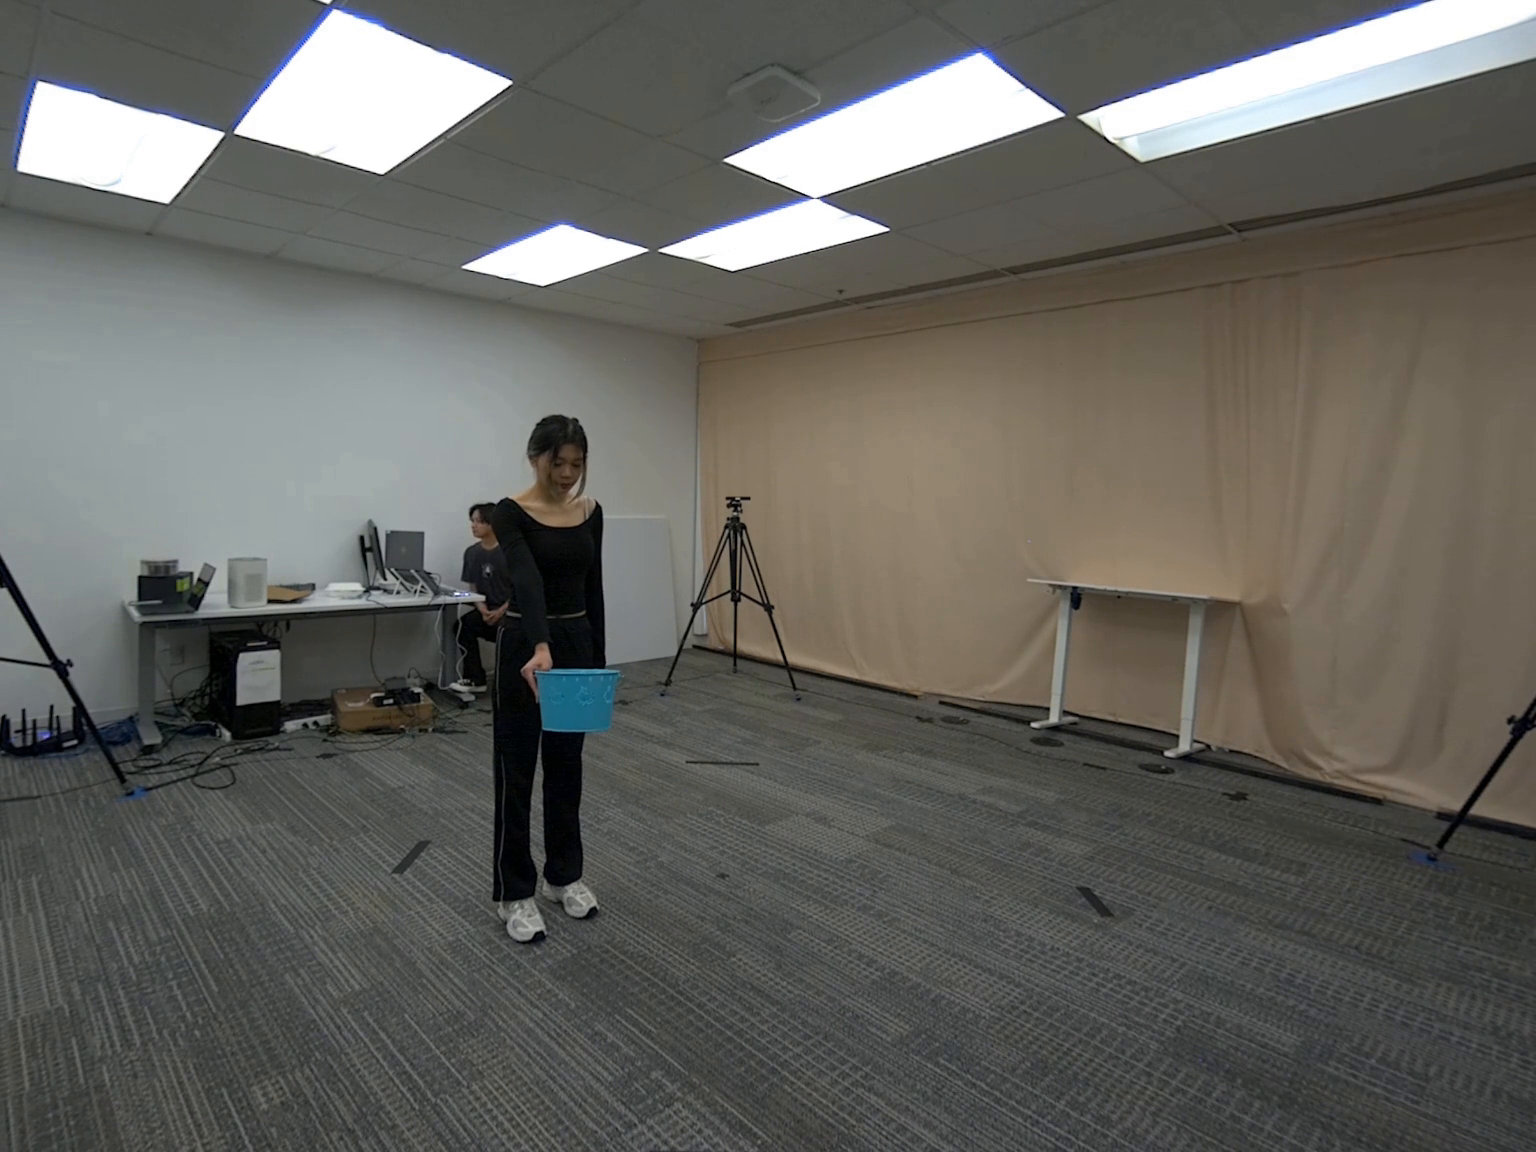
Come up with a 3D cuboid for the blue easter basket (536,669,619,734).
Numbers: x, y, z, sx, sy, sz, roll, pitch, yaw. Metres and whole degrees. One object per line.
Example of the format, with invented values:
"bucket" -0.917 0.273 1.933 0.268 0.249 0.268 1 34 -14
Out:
"blue easter basket" -0.527 0.345 2.261 0.243 0.156 0.243 1 -3 -1
